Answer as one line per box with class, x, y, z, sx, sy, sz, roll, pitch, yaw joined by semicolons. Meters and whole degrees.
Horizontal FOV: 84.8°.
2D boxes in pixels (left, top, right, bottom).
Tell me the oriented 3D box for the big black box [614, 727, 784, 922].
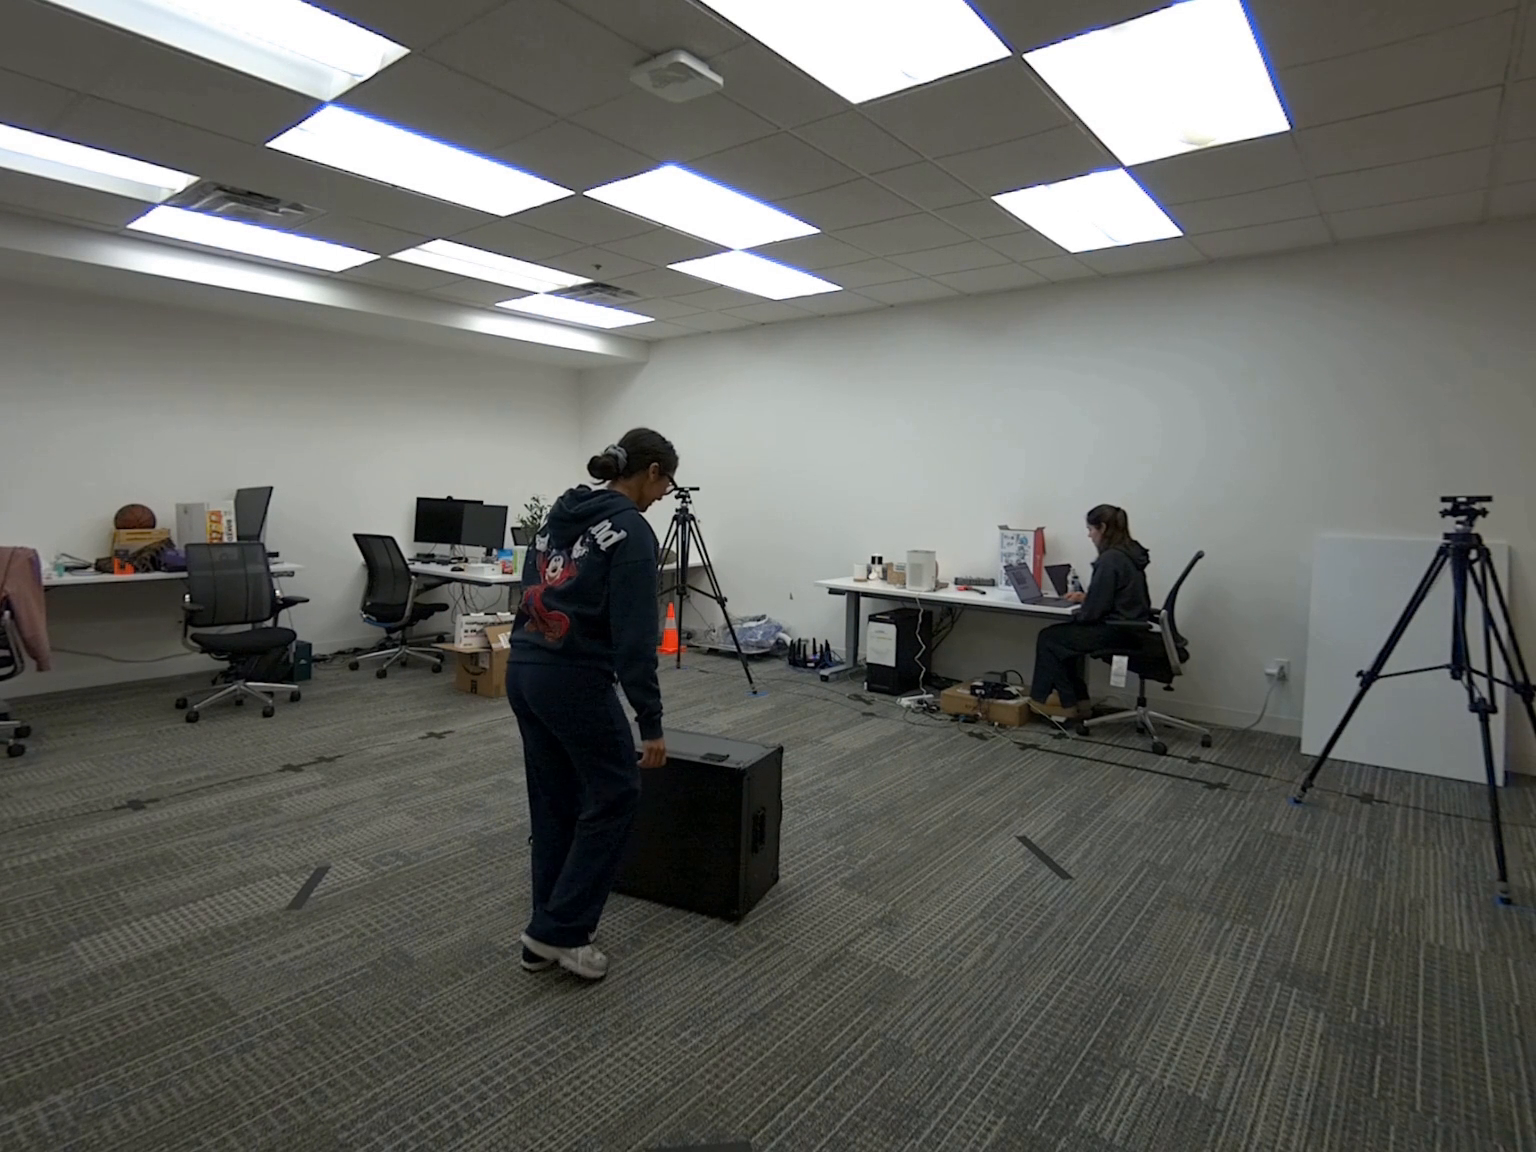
big black box;-0.411;0.814;3.047;0.883;0.521;0.387;3;1;24
